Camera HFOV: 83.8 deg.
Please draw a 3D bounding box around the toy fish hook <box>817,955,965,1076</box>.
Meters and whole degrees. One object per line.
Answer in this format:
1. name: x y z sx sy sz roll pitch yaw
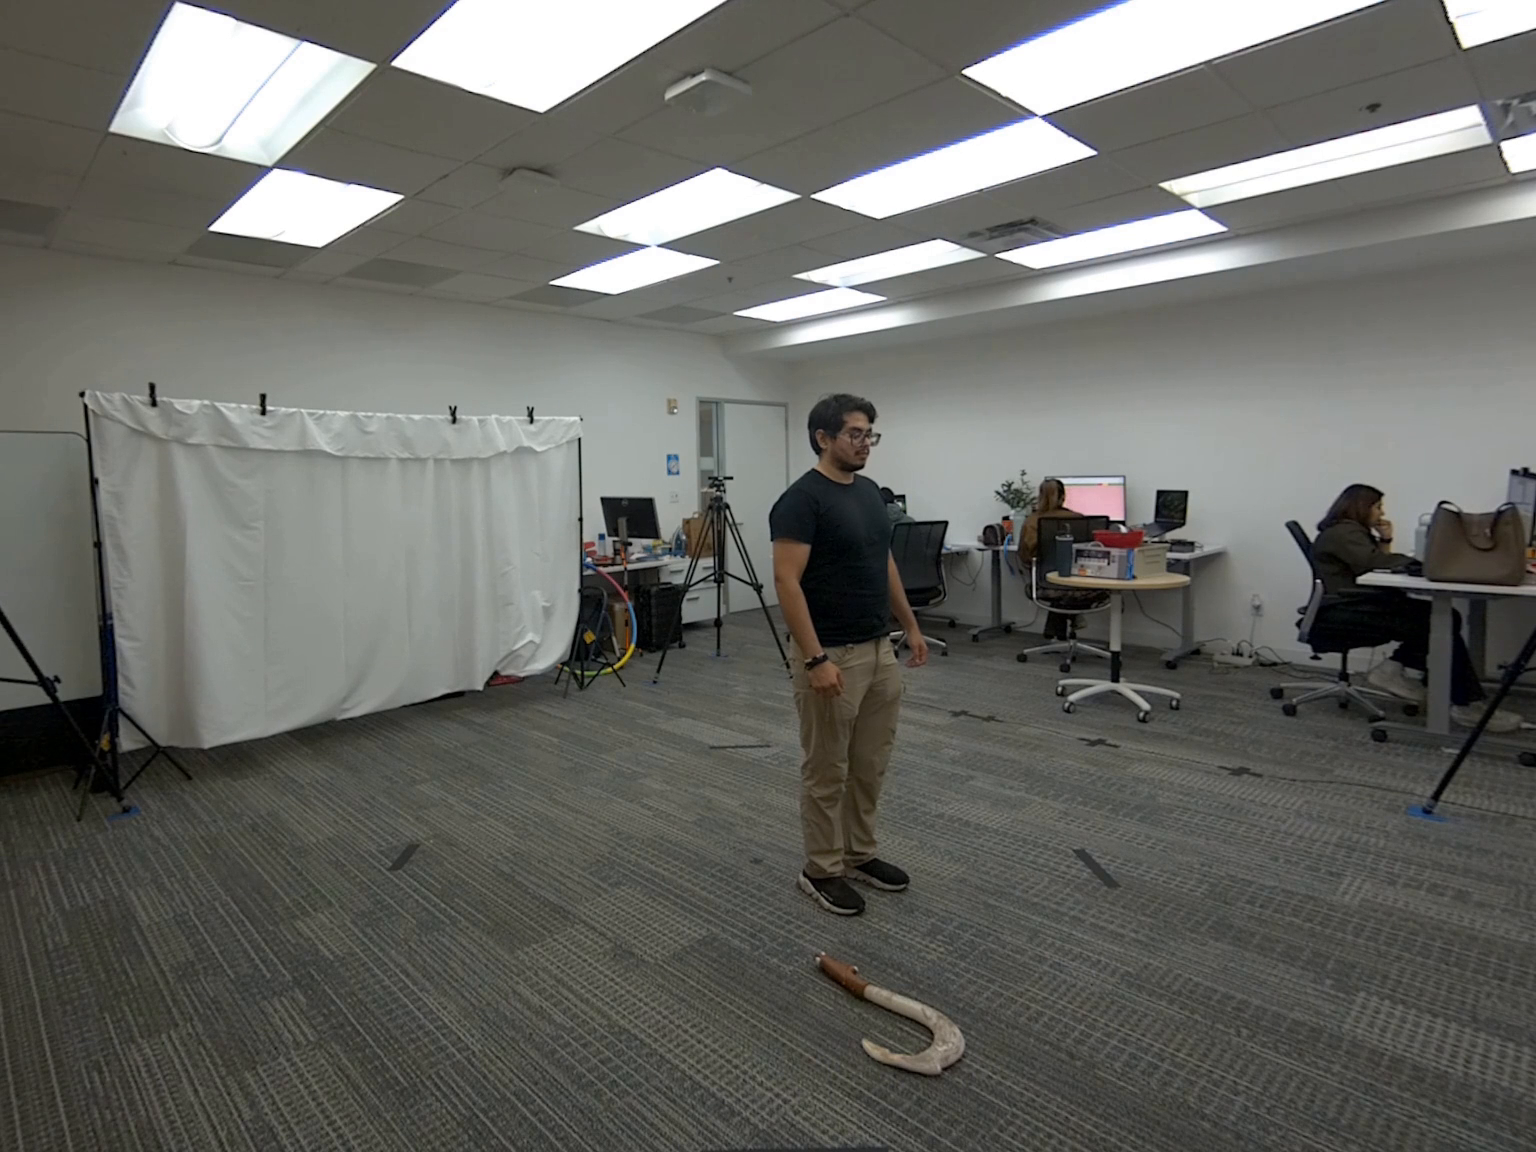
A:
1. toy fish hook: 0.268 1.124 2.198 0.219 0.048 0.522 -6 8 -38
